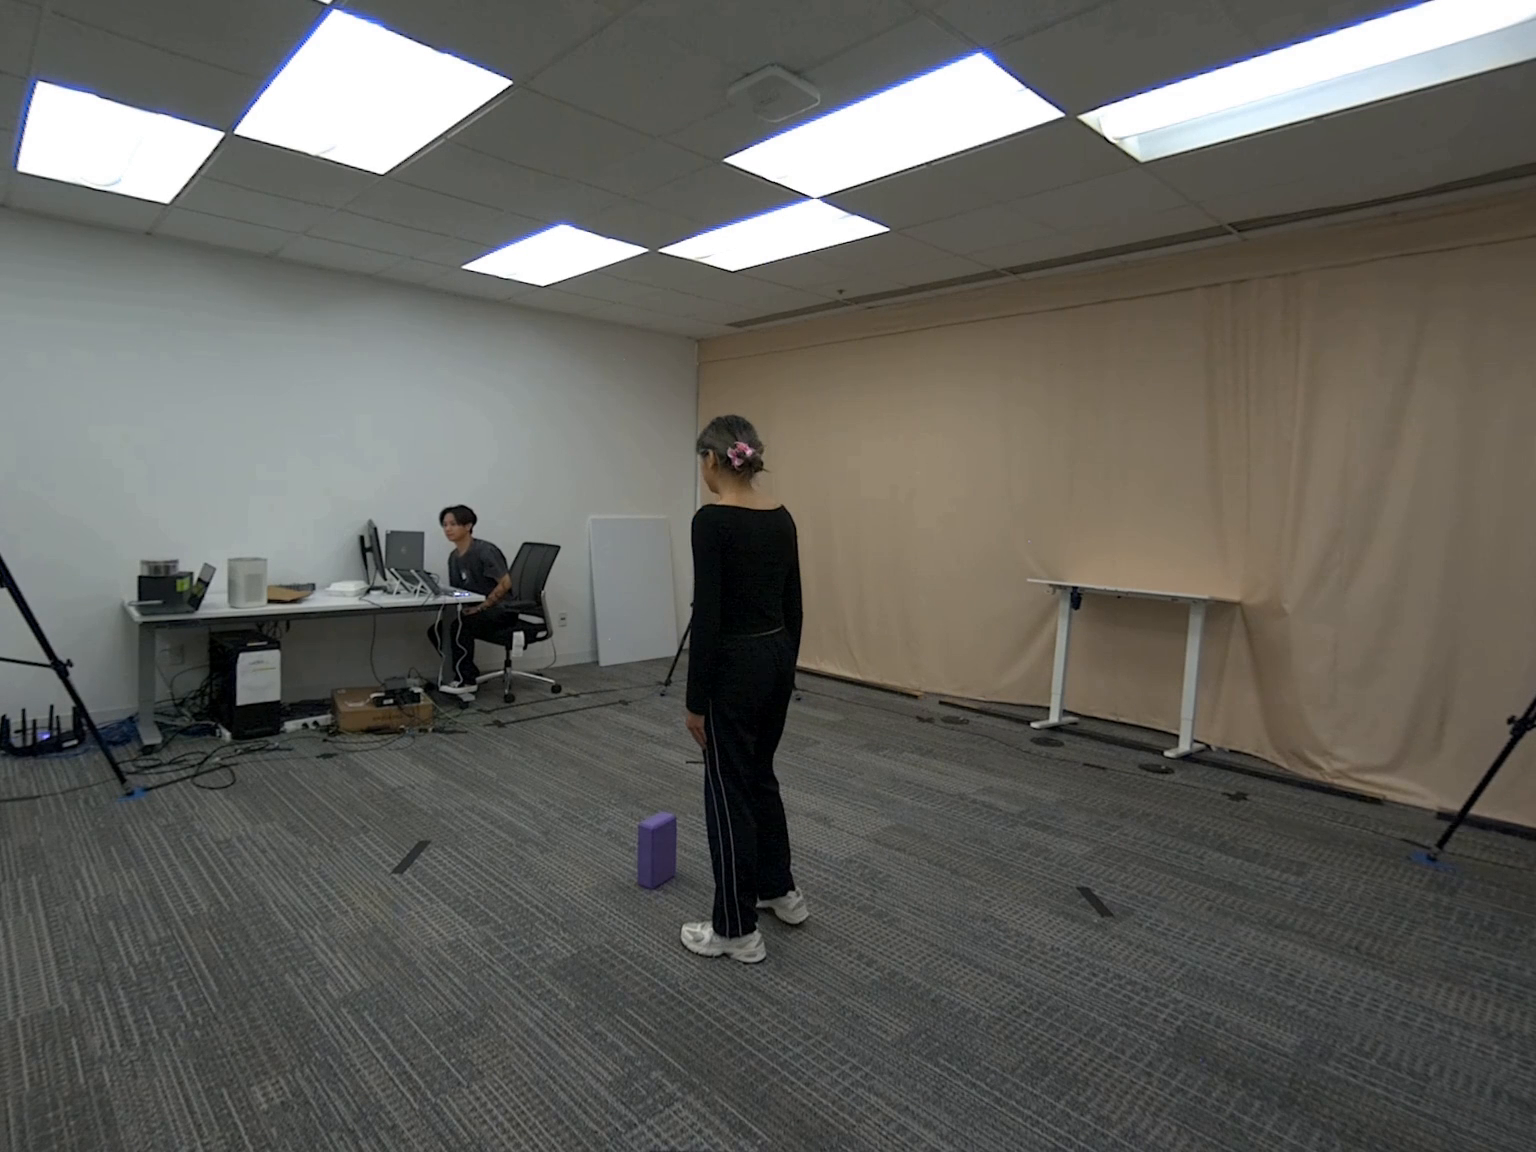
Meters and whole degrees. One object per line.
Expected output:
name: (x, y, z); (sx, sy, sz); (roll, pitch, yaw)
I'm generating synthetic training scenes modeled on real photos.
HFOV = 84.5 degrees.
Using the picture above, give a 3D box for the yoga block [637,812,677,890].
yoga block: (-0.409, 0.991, 3.045); (0.078, 0.229, 0.146); (2, 4, 30)
